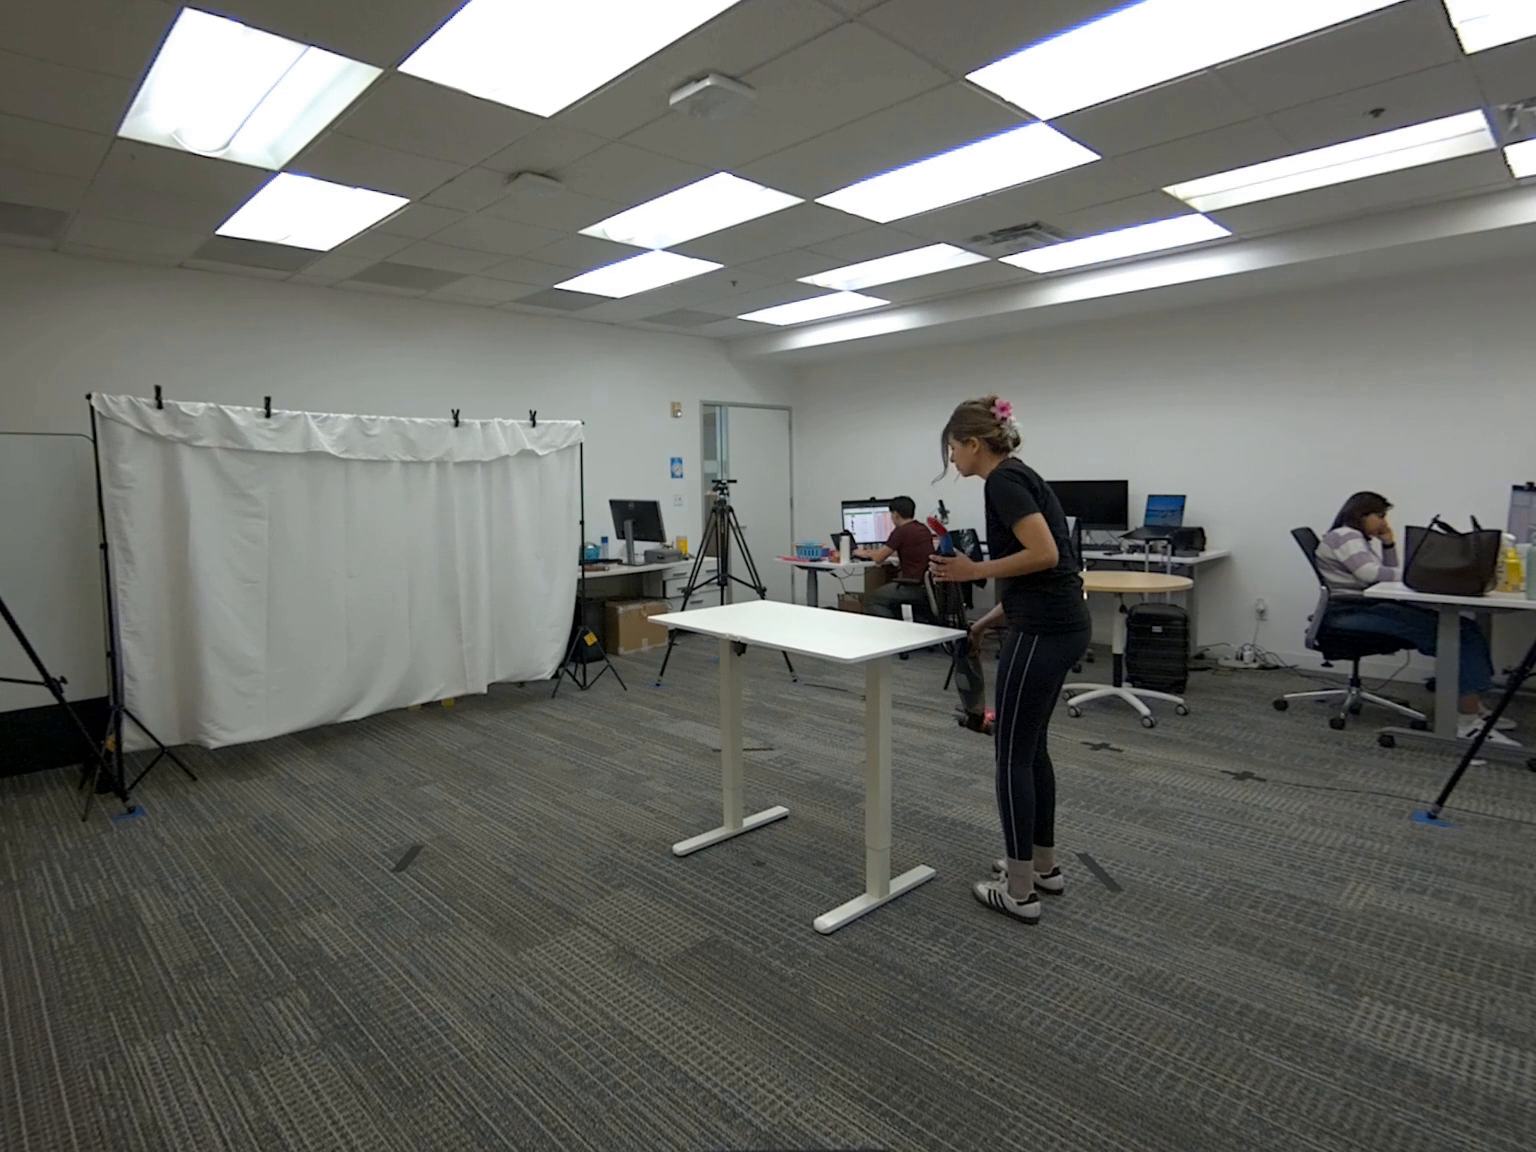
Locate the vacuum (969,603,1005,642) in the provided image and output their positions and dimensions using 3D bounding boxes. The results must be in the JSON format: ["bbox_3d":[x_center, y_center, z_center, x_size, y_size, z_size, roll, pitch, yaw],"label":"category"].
[{"bbox_3d":[0.676,0.196,3.038,0.261,1.013,0.144,9,48,39],"label":"vacuum"}]
